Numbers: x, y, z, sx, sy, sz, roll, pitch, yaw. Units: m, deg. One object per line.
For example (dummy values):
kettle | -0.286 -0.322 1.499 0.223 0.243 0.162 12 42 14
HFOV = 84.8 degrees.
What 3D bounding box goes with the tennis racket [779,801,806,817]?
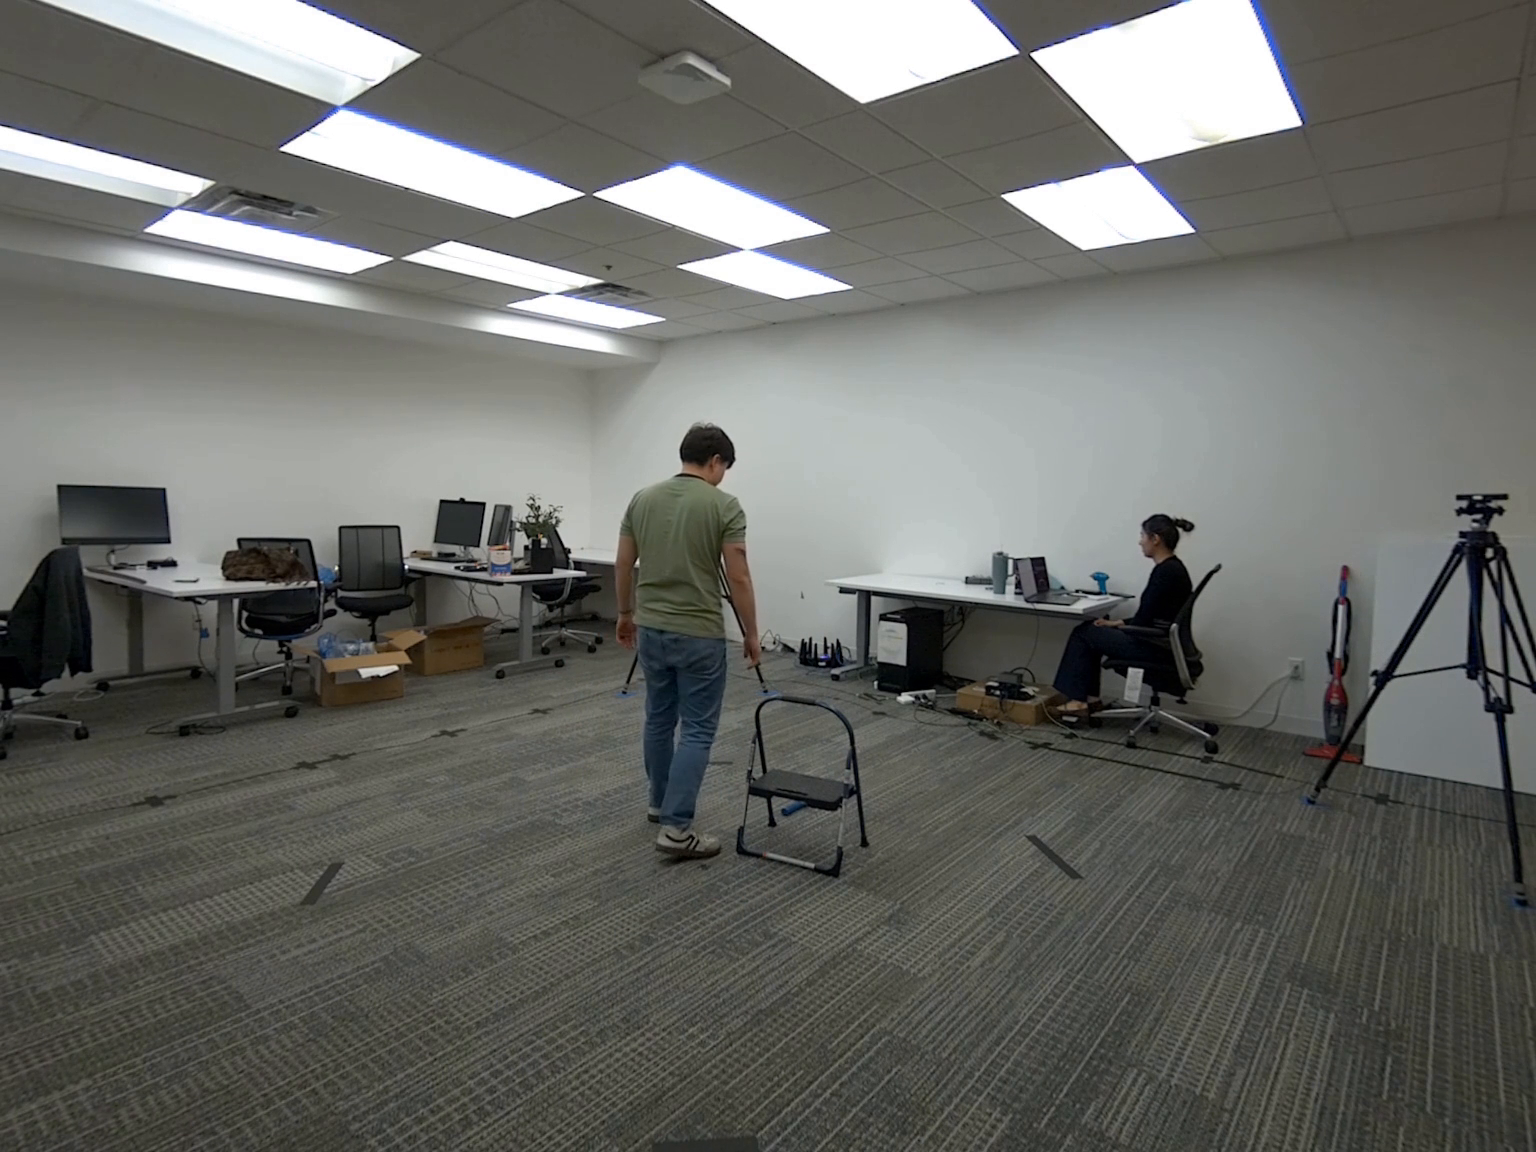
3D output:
tennis racket | 0.176 0.982 3.788 0.221 0.031 0.420 5 6 37
